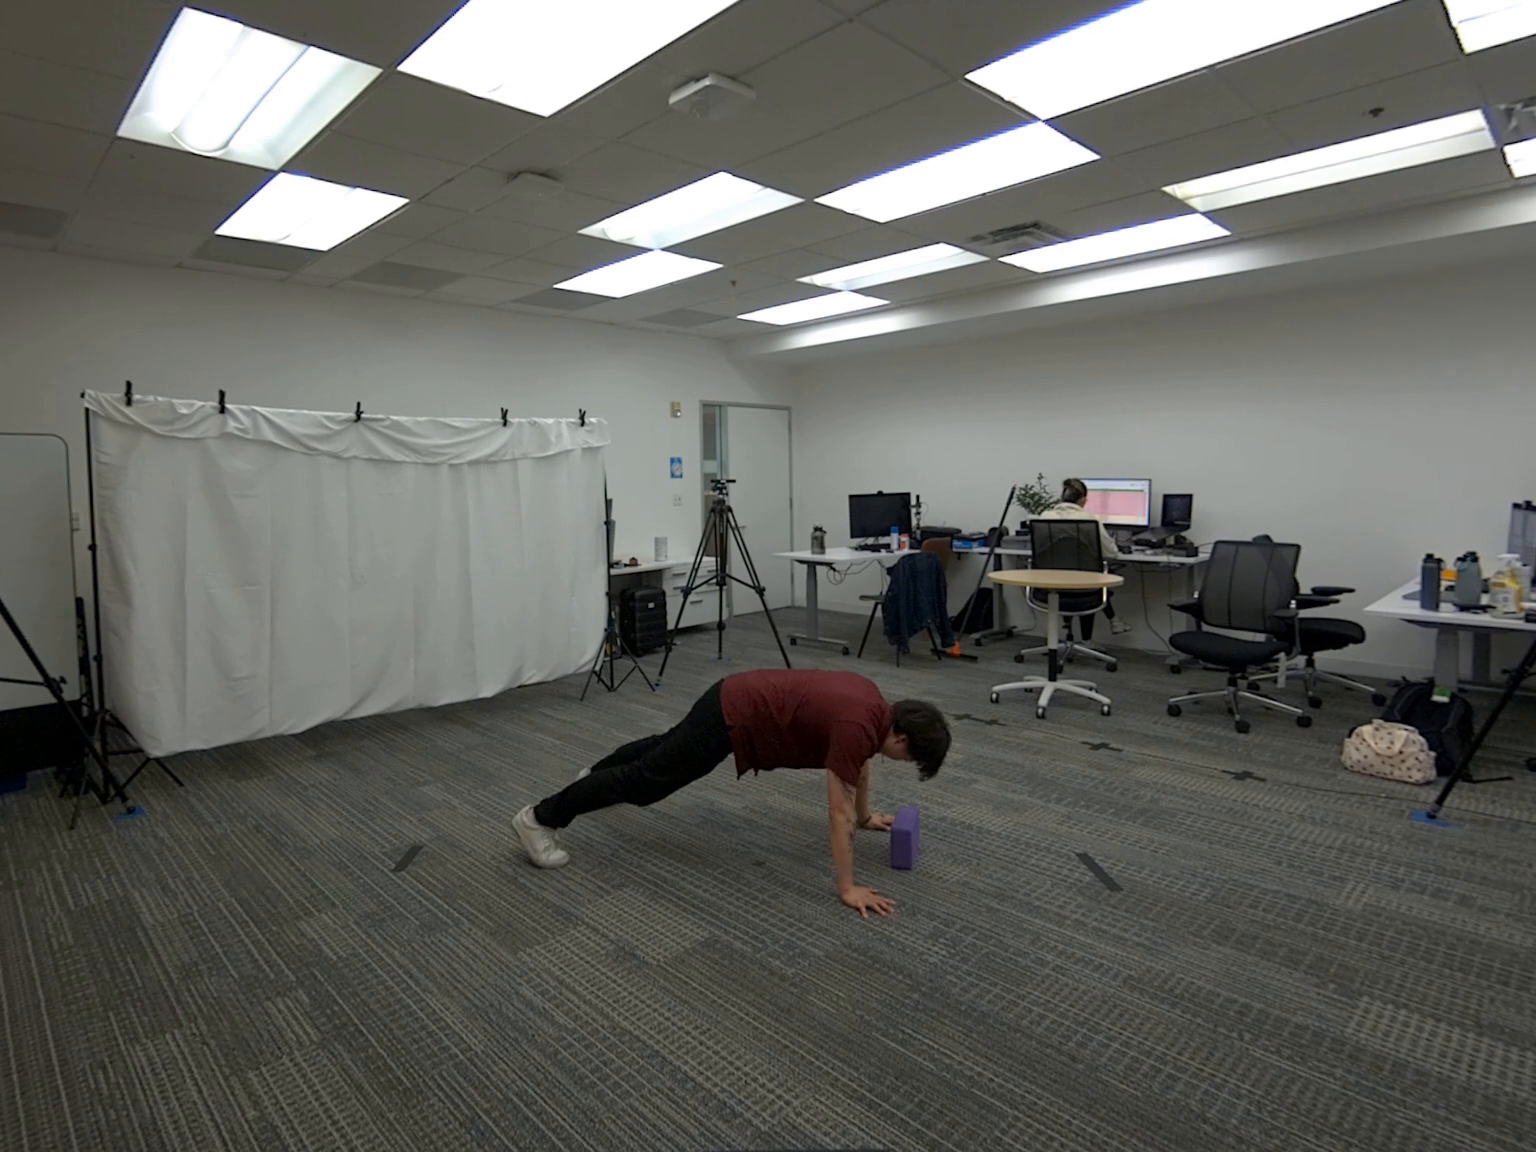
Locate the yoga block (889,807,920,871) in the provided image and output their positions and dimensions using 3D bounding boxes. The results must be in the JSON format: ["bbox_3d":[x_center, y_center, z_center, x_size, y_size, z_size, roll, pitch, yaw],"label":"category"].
[{"bbox_3d":[0.497,0.948,3.139,0.078,0.148,0.225,1,4,20],"label":"yoga block"}]
